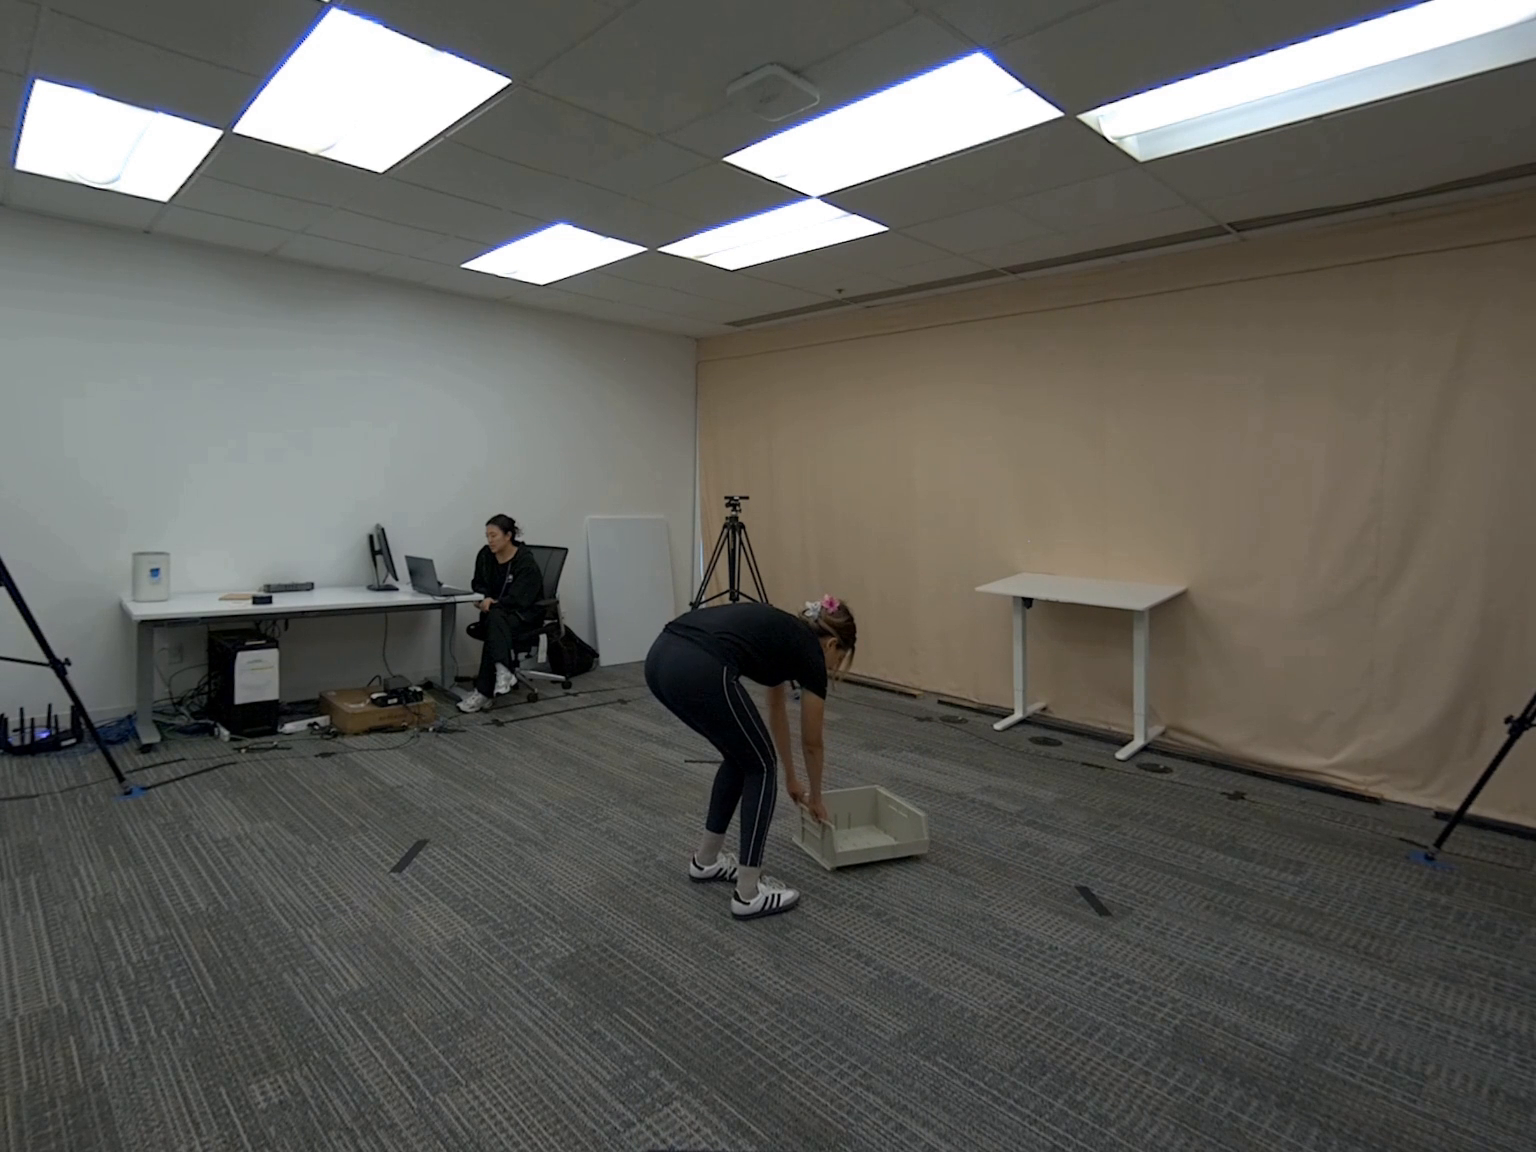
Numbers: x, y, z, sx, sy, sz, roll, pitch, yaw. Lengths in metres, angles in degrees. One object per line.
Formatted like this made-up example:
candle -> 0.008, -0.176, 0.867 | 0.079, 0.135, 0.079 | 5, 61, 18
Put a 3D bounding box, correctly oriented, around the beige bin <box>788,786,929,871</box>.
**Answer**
beige bin -> 0.350, 1.001, 3.357 | 0.415, 0.188, 0.385 | -2, 5, -24
